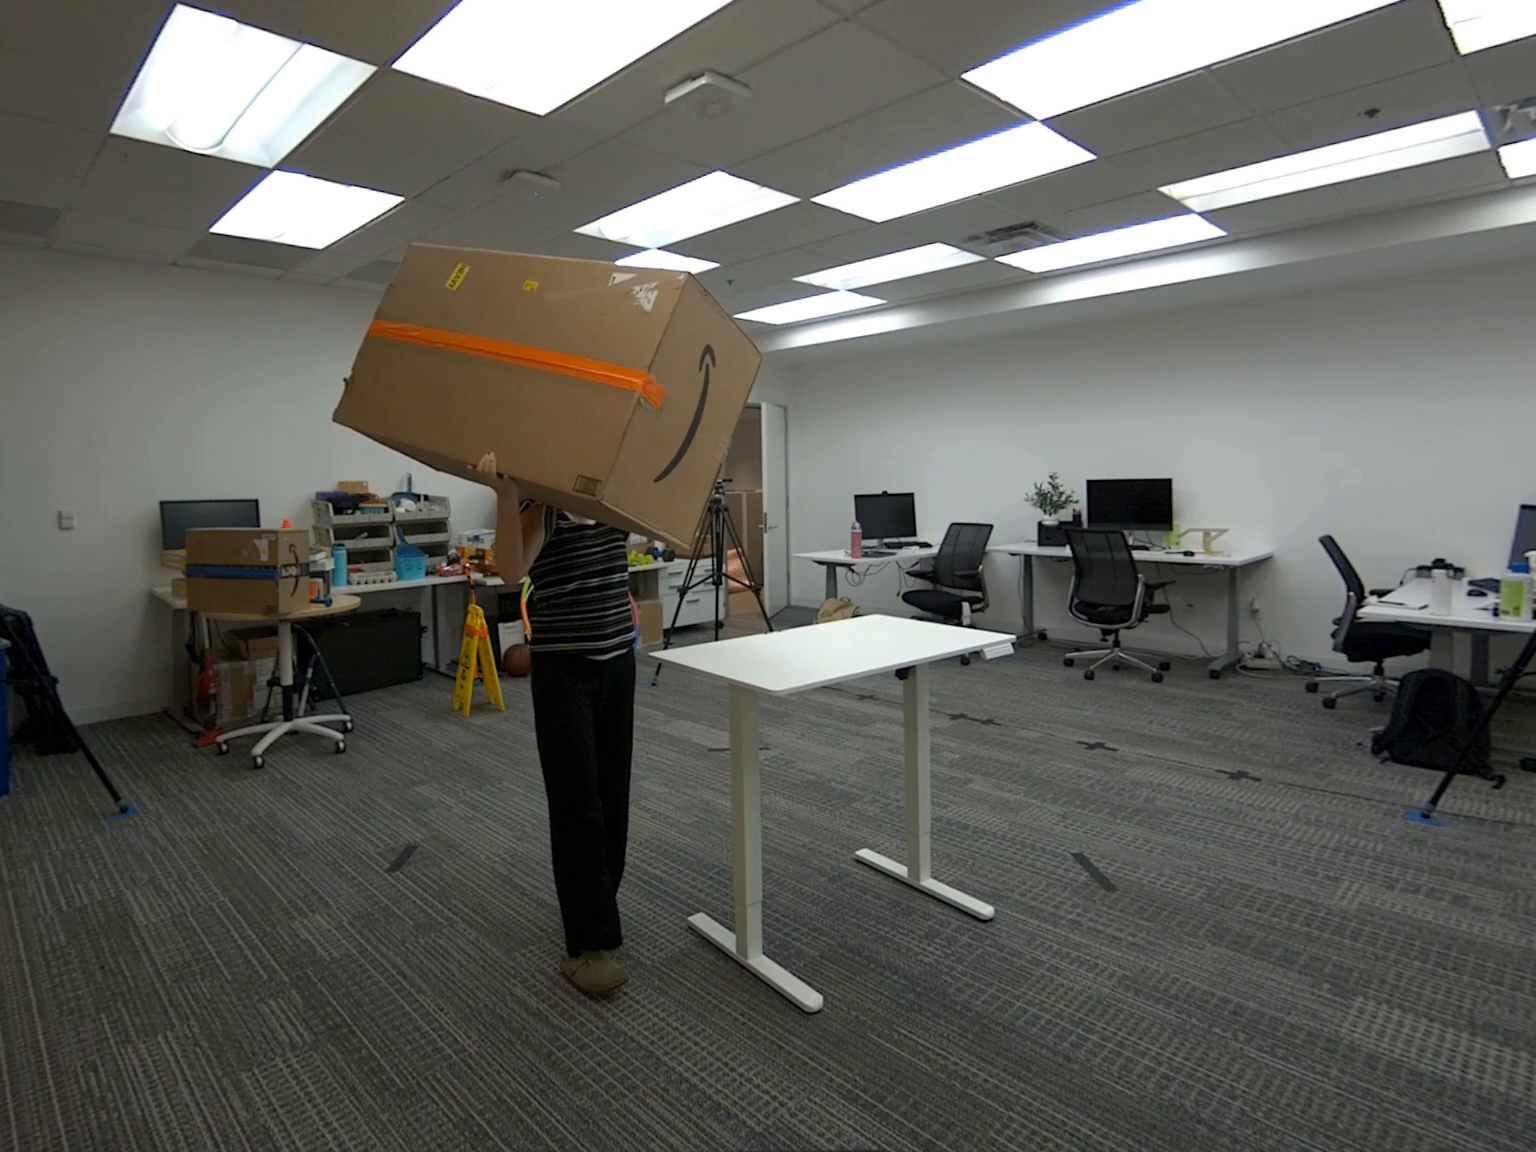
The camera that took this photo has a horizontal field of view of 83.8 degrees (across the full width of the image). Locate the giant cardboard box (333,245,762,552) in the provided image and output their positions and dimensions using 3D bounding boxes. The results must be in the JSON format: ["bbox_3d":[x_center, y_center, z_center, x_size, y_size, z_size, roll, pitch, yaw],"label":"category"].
[{"bbox_3d":[-0.619,-0.514,2.359,1.058,0.580,0.411,17,-8,30],"label":"giant cardboard box"}]
